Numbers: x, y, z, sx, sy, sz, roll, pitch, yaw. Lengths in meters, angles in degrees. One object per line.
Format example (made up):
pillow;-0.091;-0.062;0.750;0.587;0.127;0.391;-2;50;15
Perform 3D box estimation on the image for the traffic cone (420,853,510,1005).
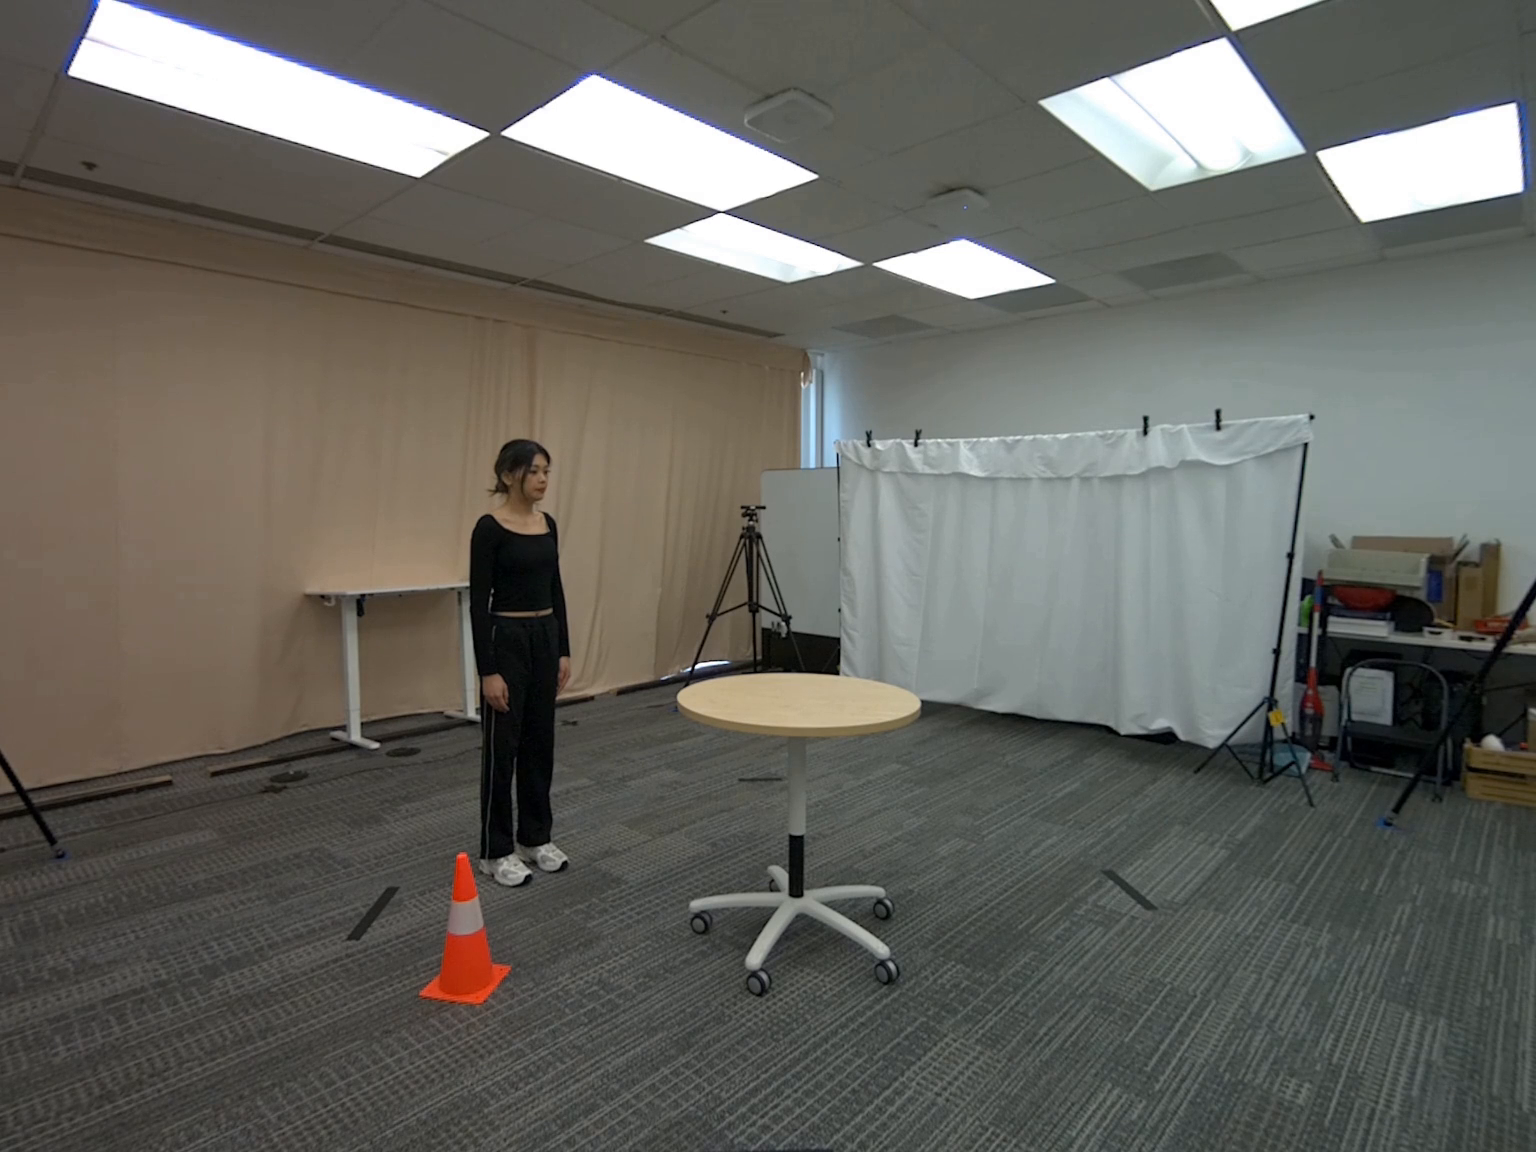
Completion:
traffic cone;-0.889;1.008;2.463;0.207;0.383;0.202;0;1;7
